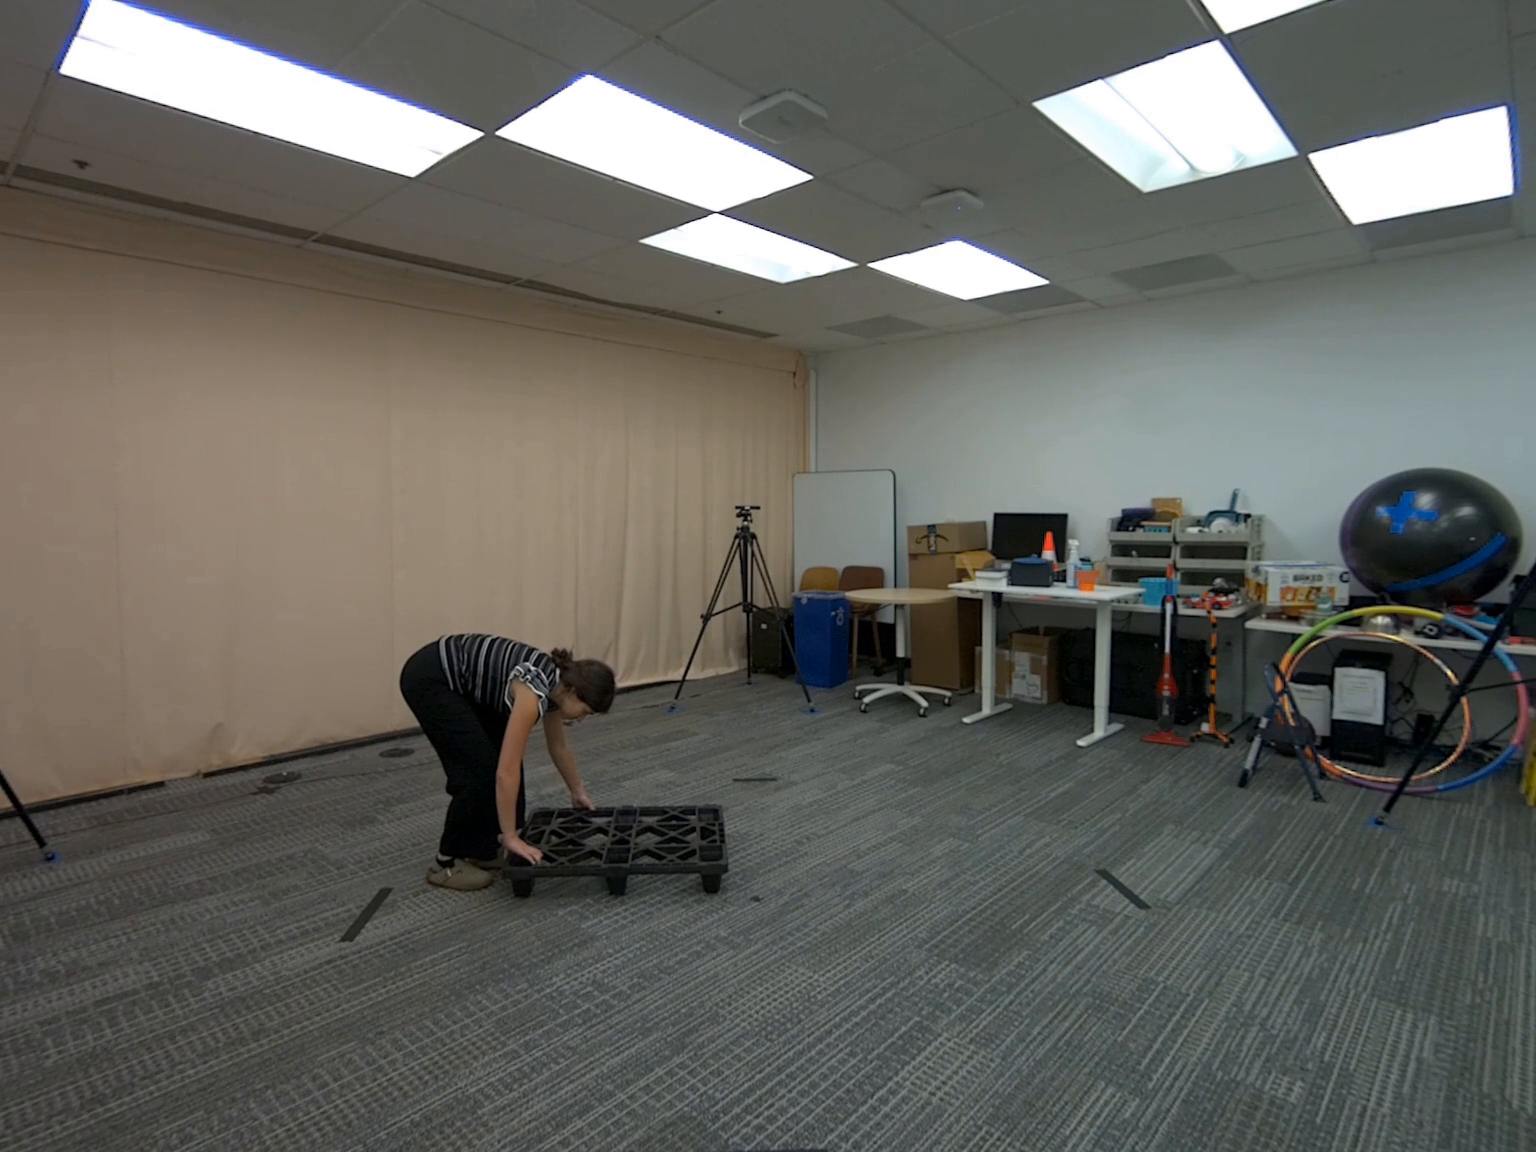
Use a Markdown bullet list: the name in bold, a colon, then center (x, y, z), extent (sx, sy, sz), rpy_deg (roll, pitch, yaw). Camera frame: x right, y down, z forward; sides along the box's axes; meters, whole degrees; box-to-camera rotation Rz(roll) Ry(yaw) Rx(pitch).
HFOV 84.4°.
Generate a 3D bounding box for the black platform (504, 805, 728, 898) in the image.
- **black platform**: center (-0.564, 1.056, 3.245), extent (0.804, 0.143, 0.608), rpy_deg (-1, 4, -3)
